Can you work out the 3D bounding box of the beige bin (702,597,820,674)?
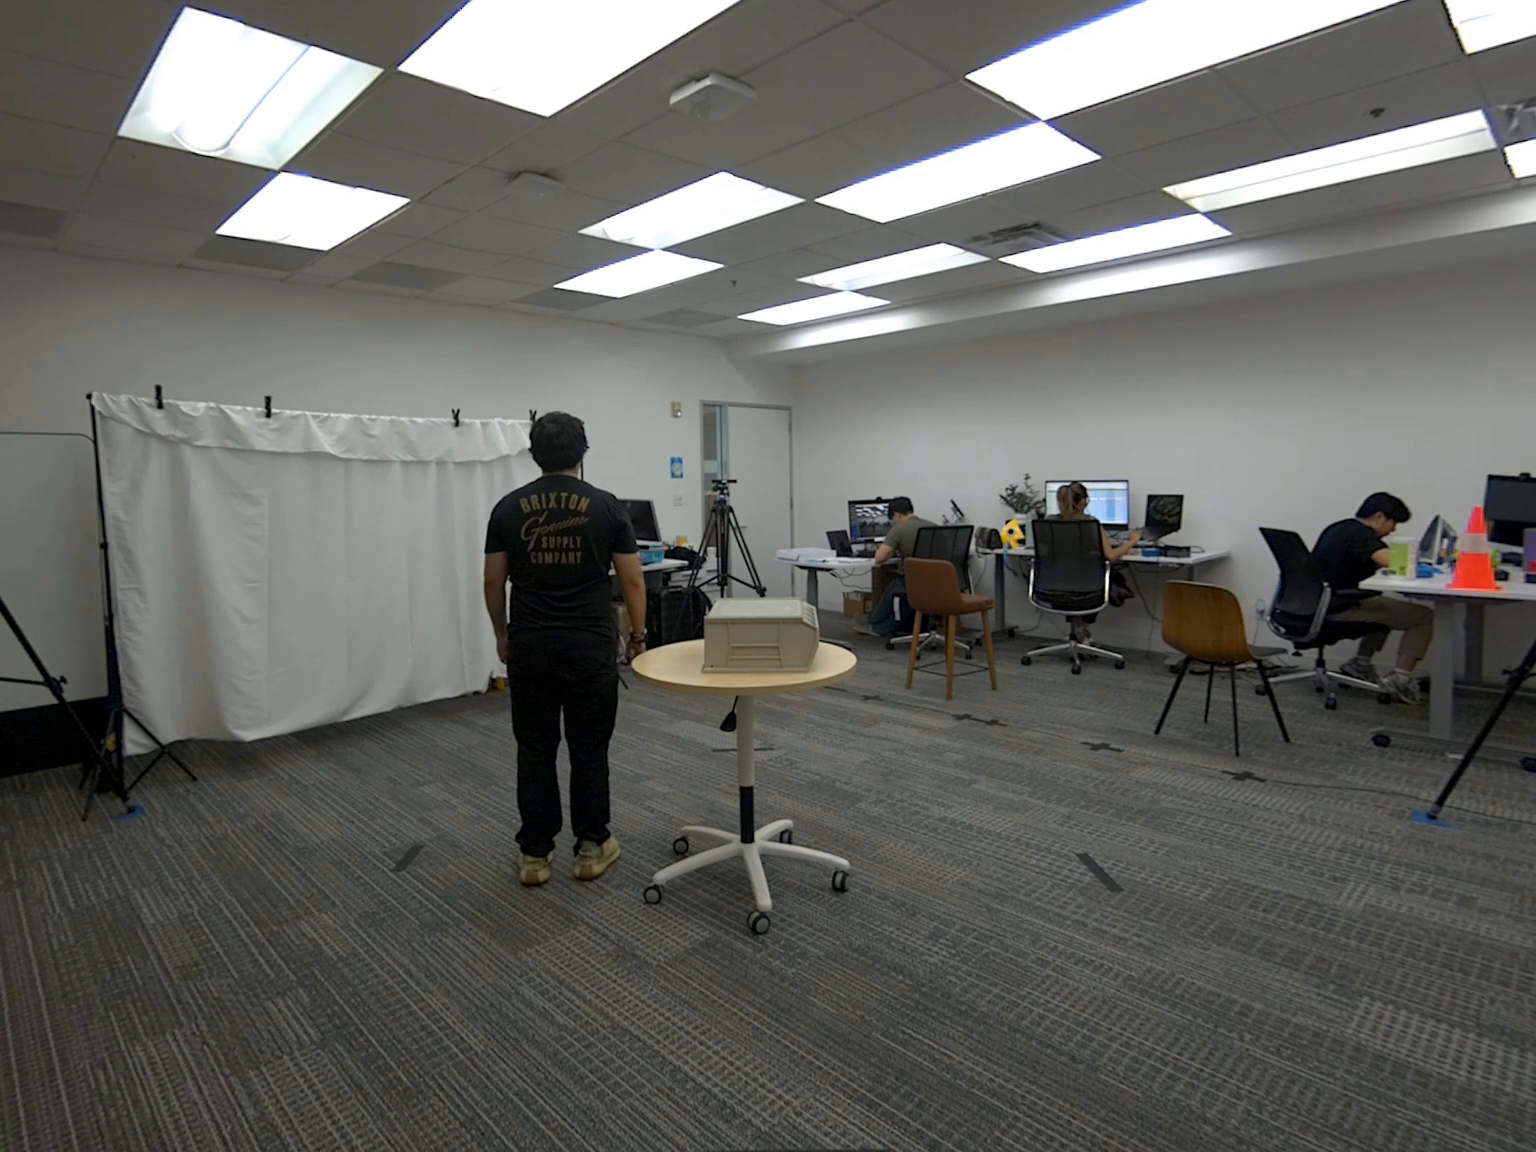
[{"bbox_3d":[-0.018,0.190,2.916,0.379,0.188,0.422,-1,6,3],"label":"beige bin"}]
